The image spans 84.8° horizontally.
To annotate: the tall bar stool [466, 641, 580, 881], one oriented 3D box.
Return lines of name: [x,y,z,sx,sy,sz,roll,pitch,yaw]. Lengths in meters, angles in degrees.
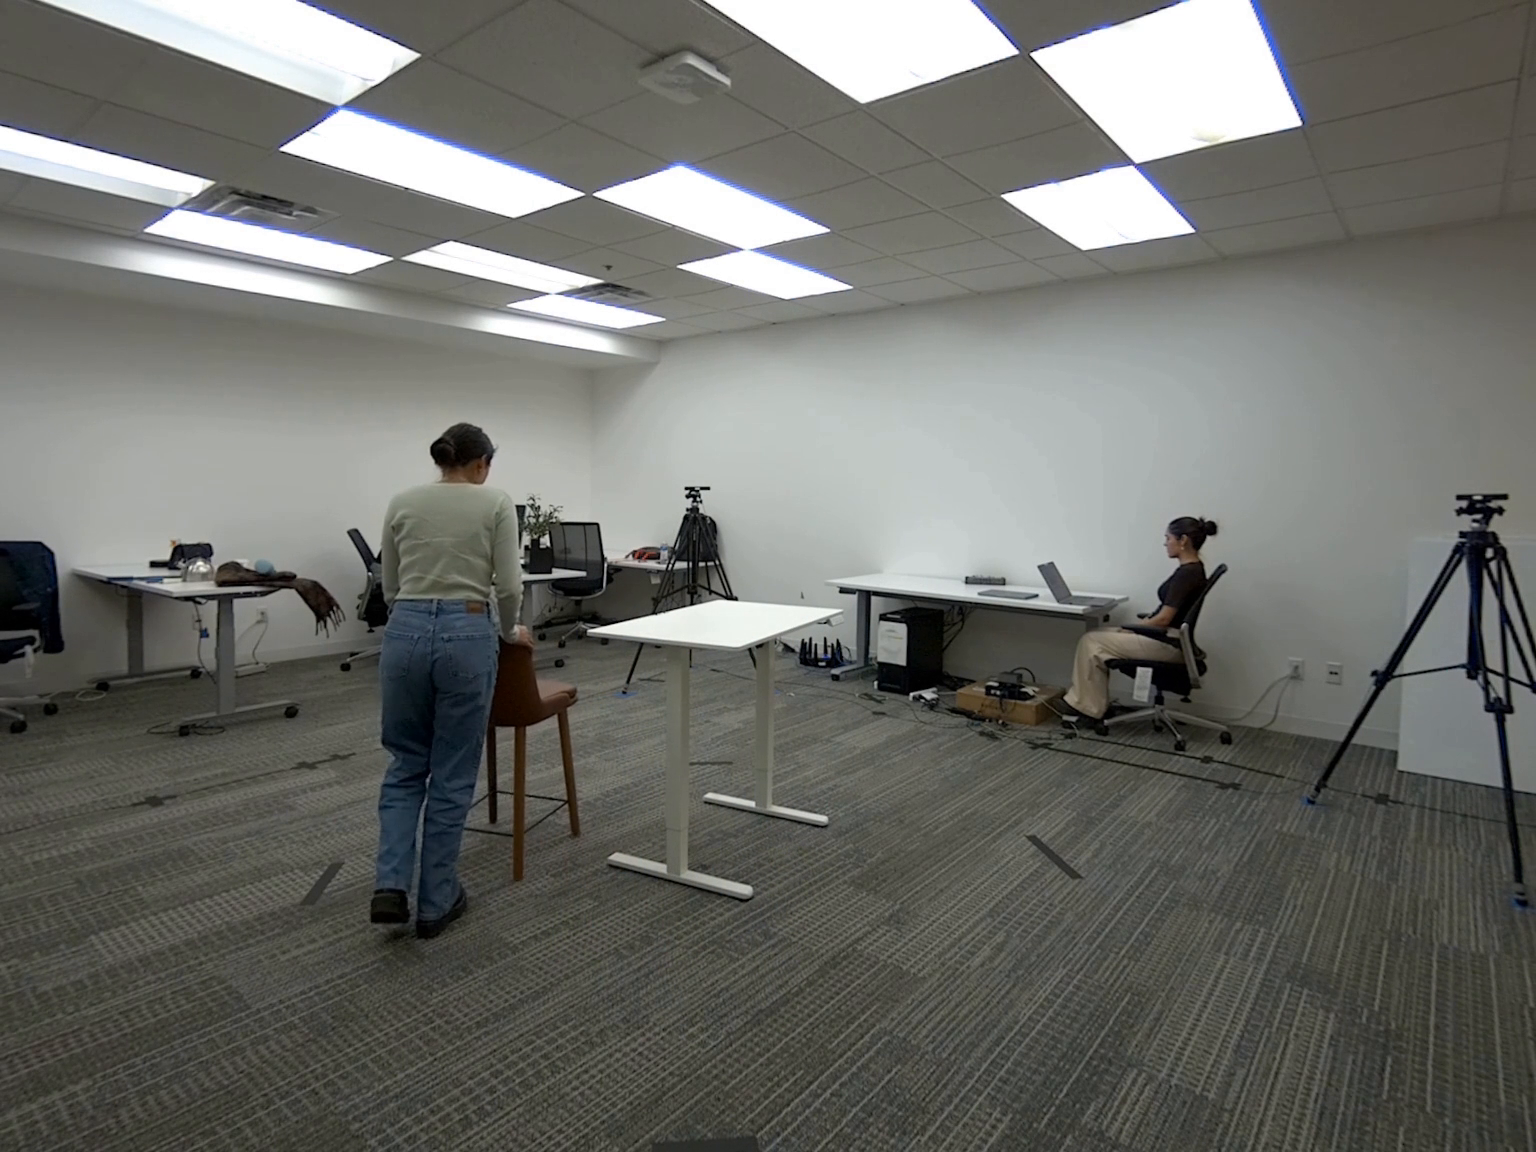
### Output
tall bar stool: [-1.008,0.608,3.217,0.465,0.885,0.461,1,5,16]
